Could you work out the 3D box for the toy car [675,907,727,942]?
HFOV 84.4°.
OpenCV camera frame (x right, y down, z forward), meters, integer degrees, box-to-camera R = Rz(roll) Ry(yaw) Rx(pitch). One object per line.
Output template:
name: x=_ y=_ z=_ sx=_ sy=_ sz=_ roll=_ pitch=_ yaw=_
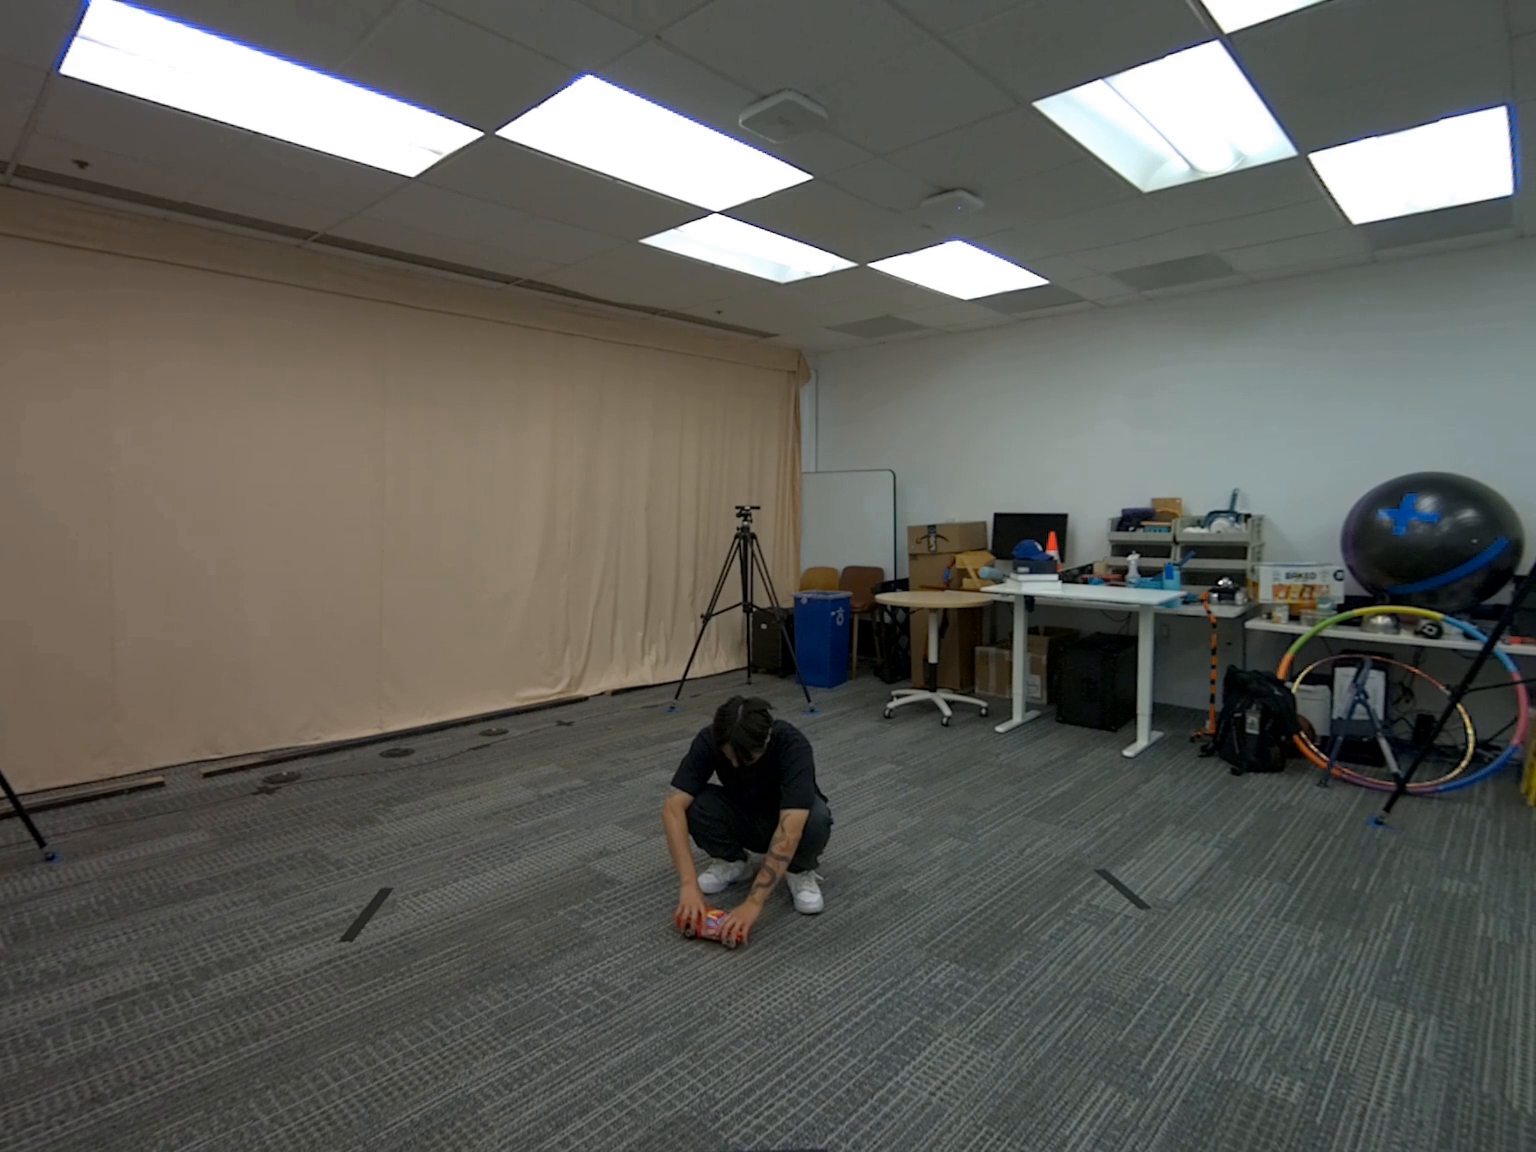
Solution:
toy car: x=-0.182 y=1.125 z=2.727 sx=0.261 sy=0.083 sz=0.128 roll=9 pitch=11 yaw=23
